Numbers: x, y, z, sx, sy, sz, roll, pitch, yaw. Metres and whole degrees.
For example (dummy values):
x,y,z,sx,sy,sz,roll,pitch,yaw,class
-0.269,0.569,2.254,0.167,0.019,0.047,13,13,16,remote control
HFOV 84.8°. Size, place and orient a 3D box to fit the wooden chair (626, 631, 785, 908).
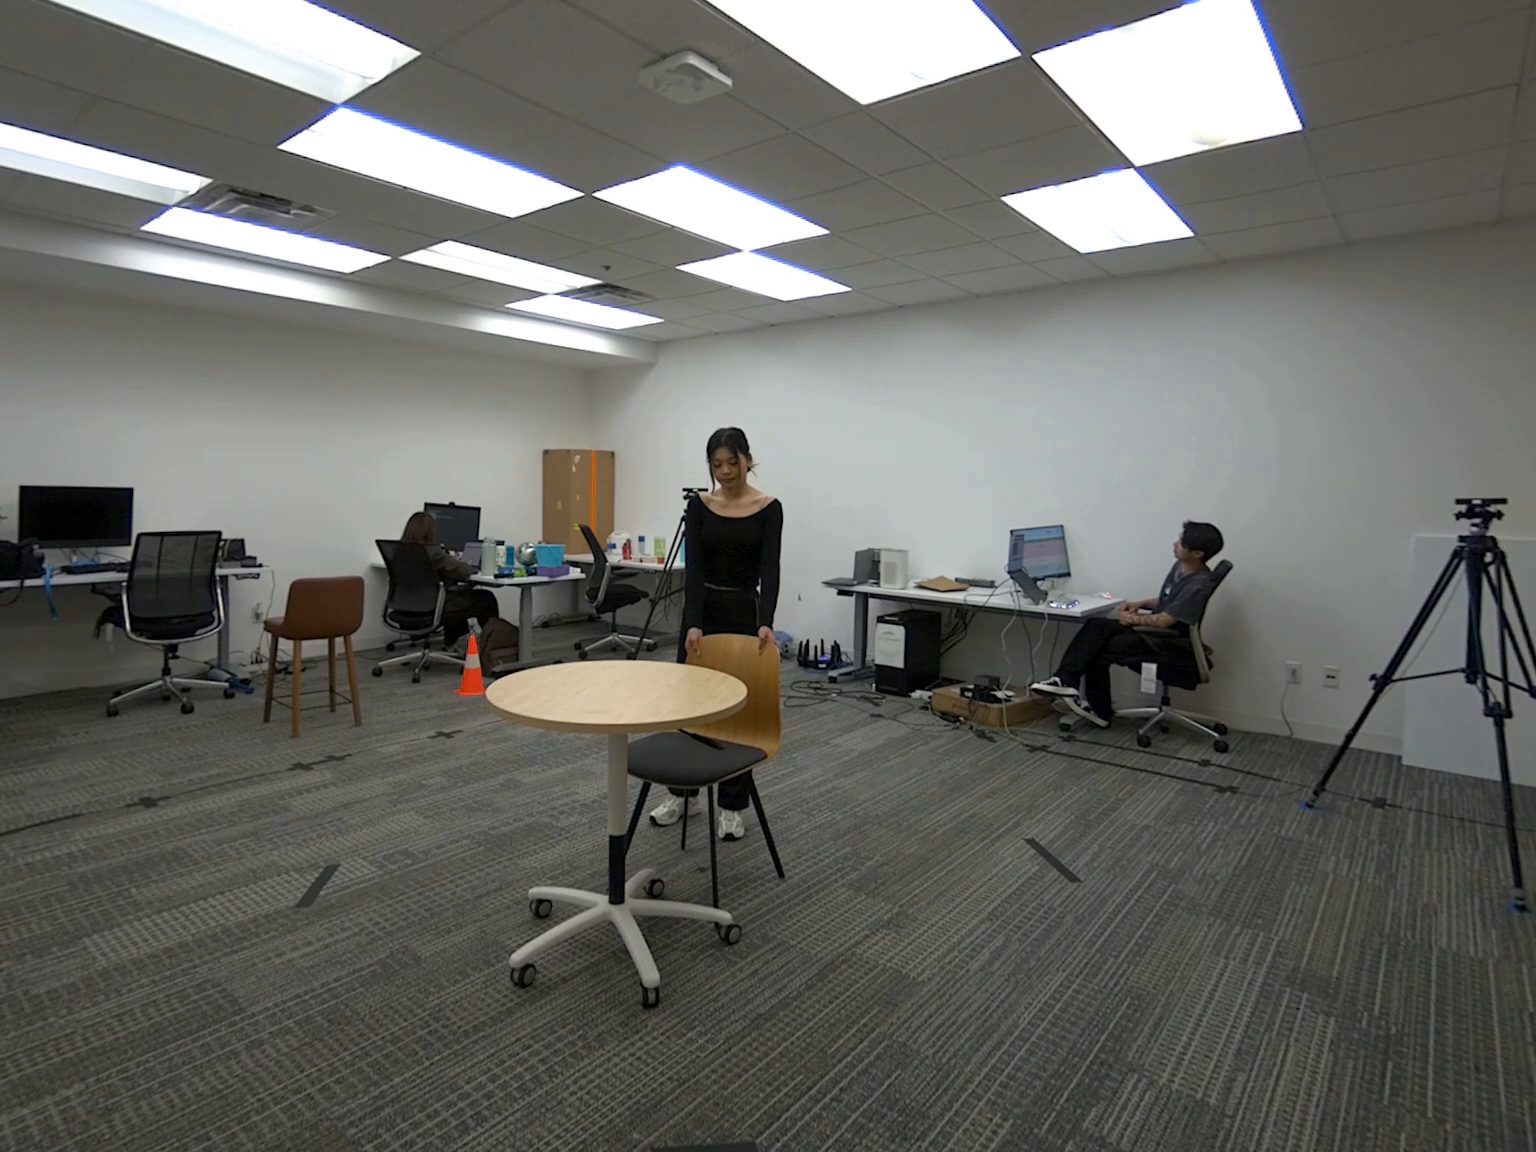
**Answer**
x,y,z,sx,sy,sz,roll,pitch,yaw,class
-0.240,0.653,2.959,0.492,0.878,0.507,3,-1,31,wooden chair
